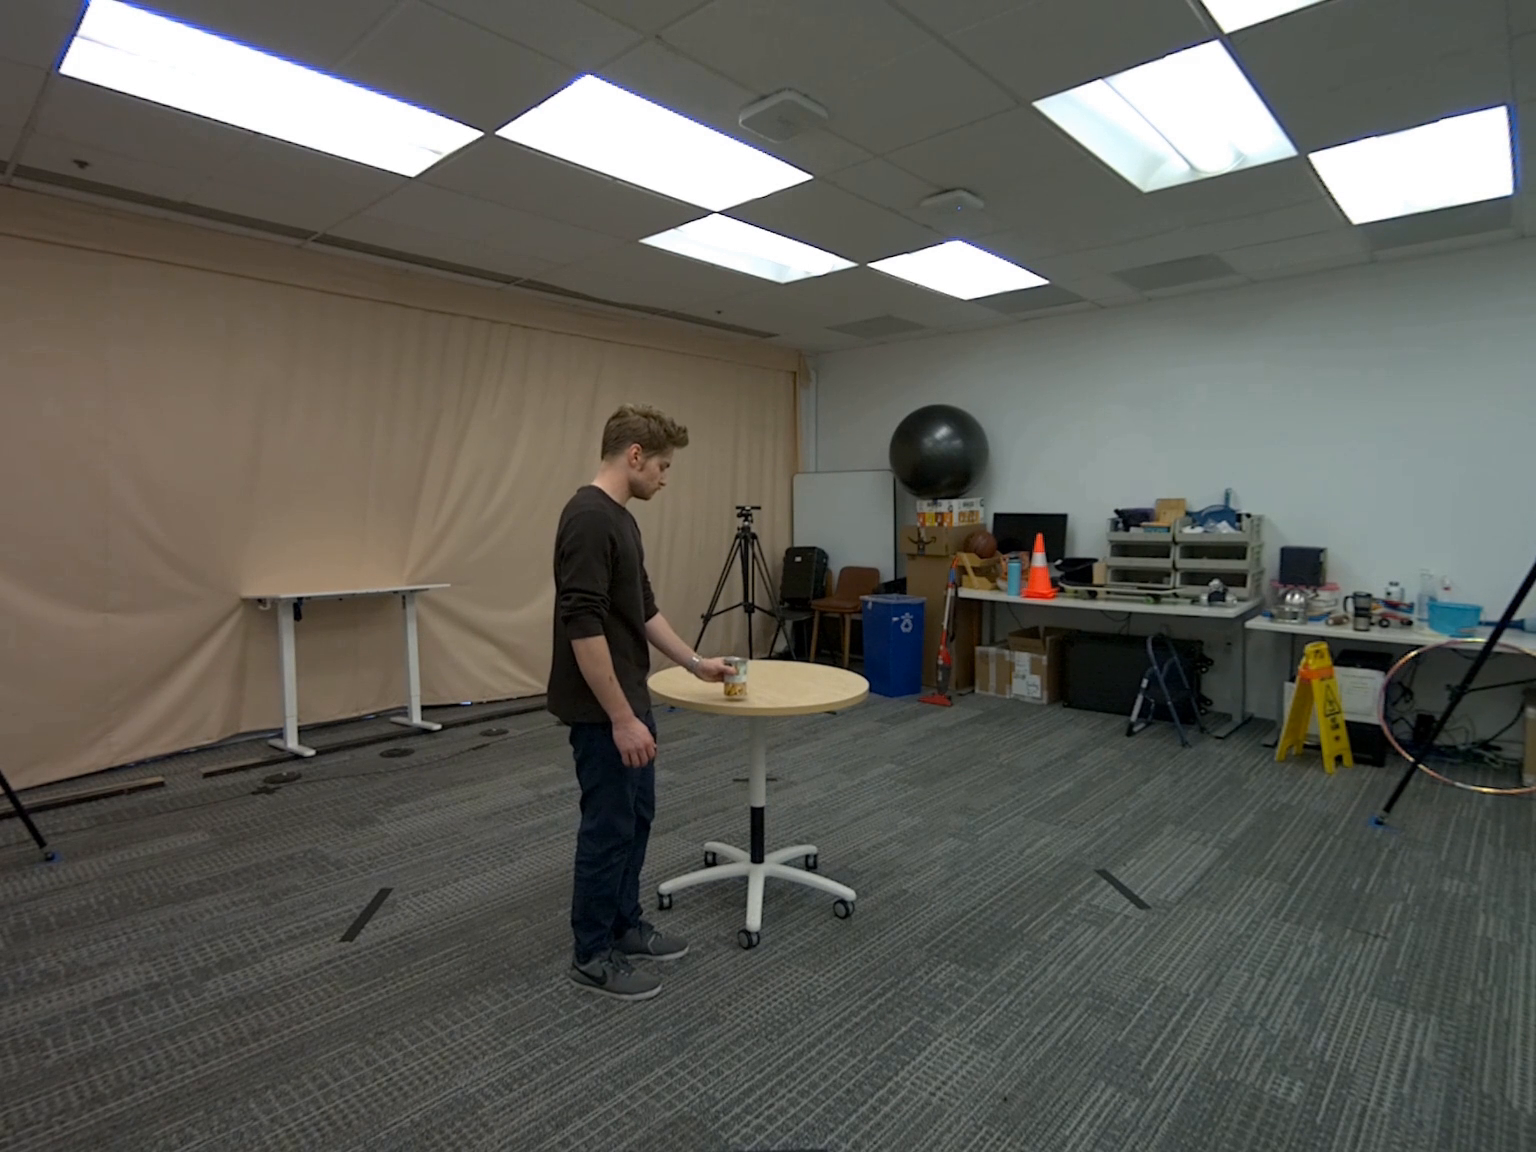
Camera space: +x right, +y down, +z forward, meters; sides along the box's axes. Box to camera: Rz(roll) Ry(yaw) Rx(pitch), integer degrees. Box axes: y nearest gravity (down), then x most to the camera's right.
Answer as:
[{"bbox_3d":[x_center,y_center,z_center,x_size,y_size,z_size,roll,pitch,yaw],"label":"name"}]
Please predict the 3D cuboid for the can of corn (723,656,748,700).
[{"bbox_3d":[-0.099,0.316,2.622,0.074,0.111,0.074,0,2,-2],"label":"can of corn"}]
